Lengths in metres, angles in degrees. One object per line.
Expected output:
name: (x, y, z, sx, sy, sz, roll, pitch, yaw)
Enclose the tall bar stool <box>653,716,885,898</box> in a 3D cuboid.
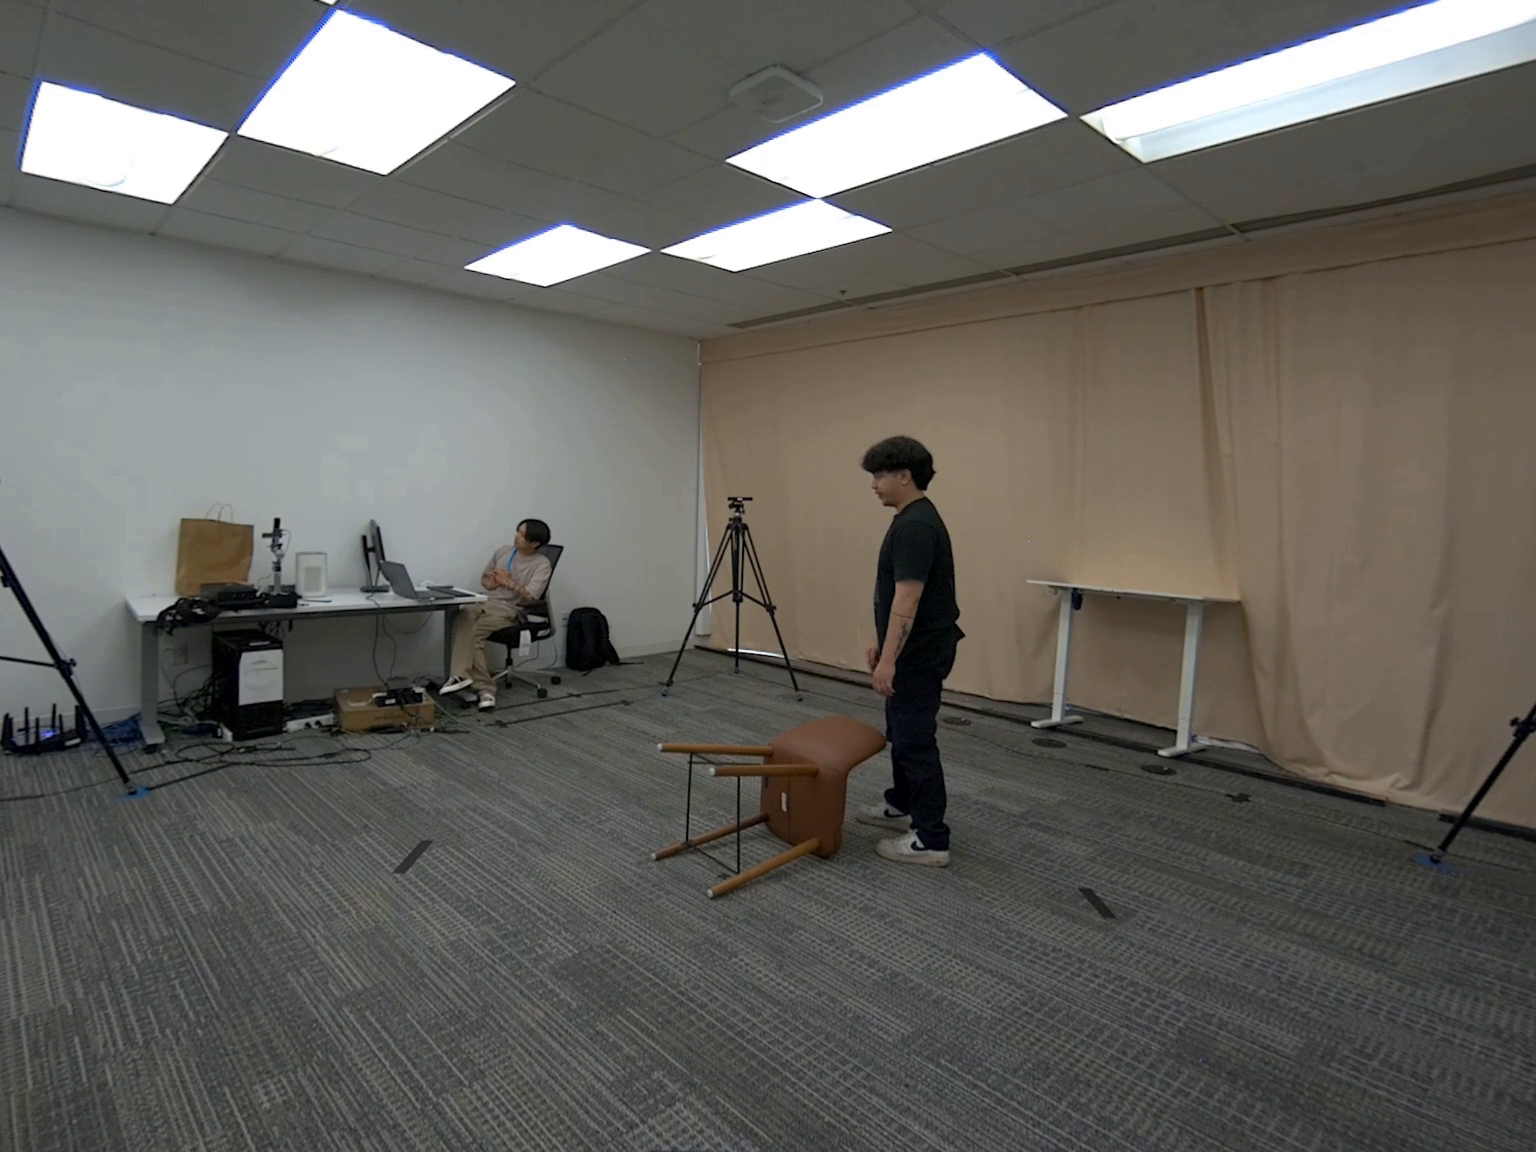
tall bar stool: (0.021, 0.862, 3.322, 0.870, 0.466, 0.468, -3, 5, -38)
